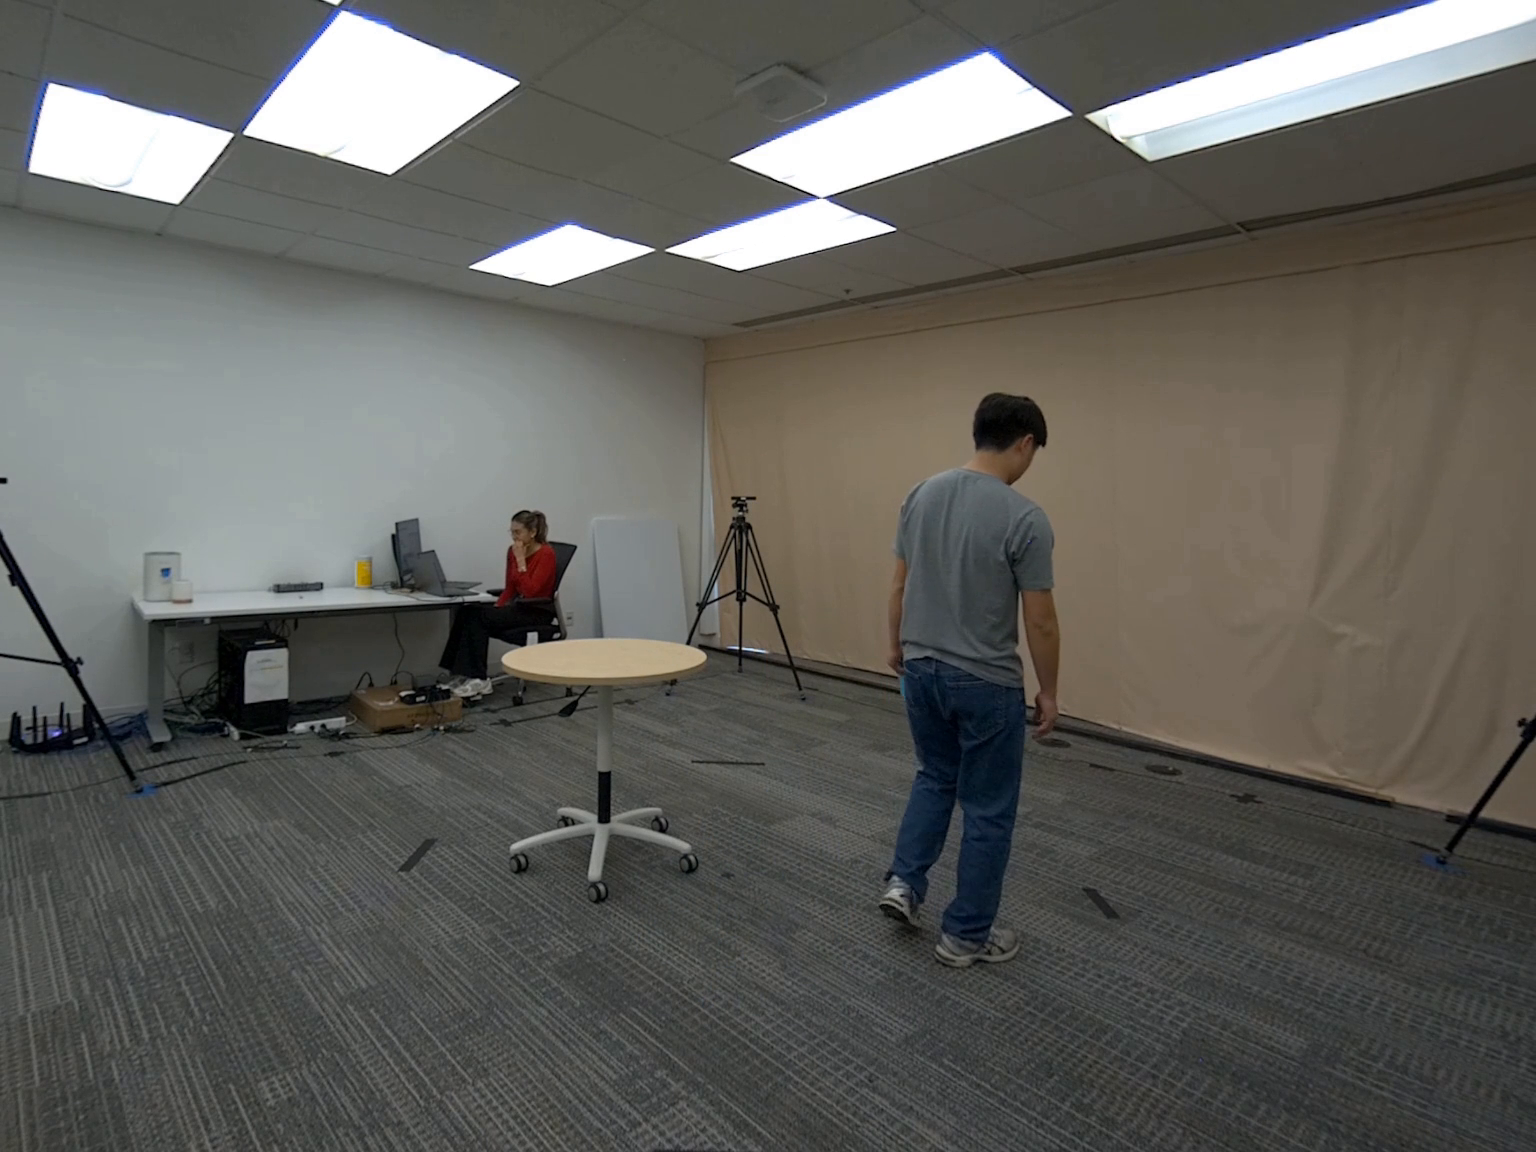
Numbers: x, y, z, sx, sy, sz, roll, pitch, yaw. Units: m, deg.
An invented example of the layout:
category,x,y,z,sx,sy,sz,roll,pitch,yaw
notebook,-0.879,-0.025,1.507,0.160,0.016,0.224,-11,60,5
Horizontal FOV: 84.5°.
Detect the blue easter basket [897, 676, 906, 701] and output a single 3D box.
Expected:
category,x,y,z,sx,sy,sz,roll,pitch,yaw
blue easter basket,0.587,0.351,2.966,0.243,0.154,0.246,-3,17,0
